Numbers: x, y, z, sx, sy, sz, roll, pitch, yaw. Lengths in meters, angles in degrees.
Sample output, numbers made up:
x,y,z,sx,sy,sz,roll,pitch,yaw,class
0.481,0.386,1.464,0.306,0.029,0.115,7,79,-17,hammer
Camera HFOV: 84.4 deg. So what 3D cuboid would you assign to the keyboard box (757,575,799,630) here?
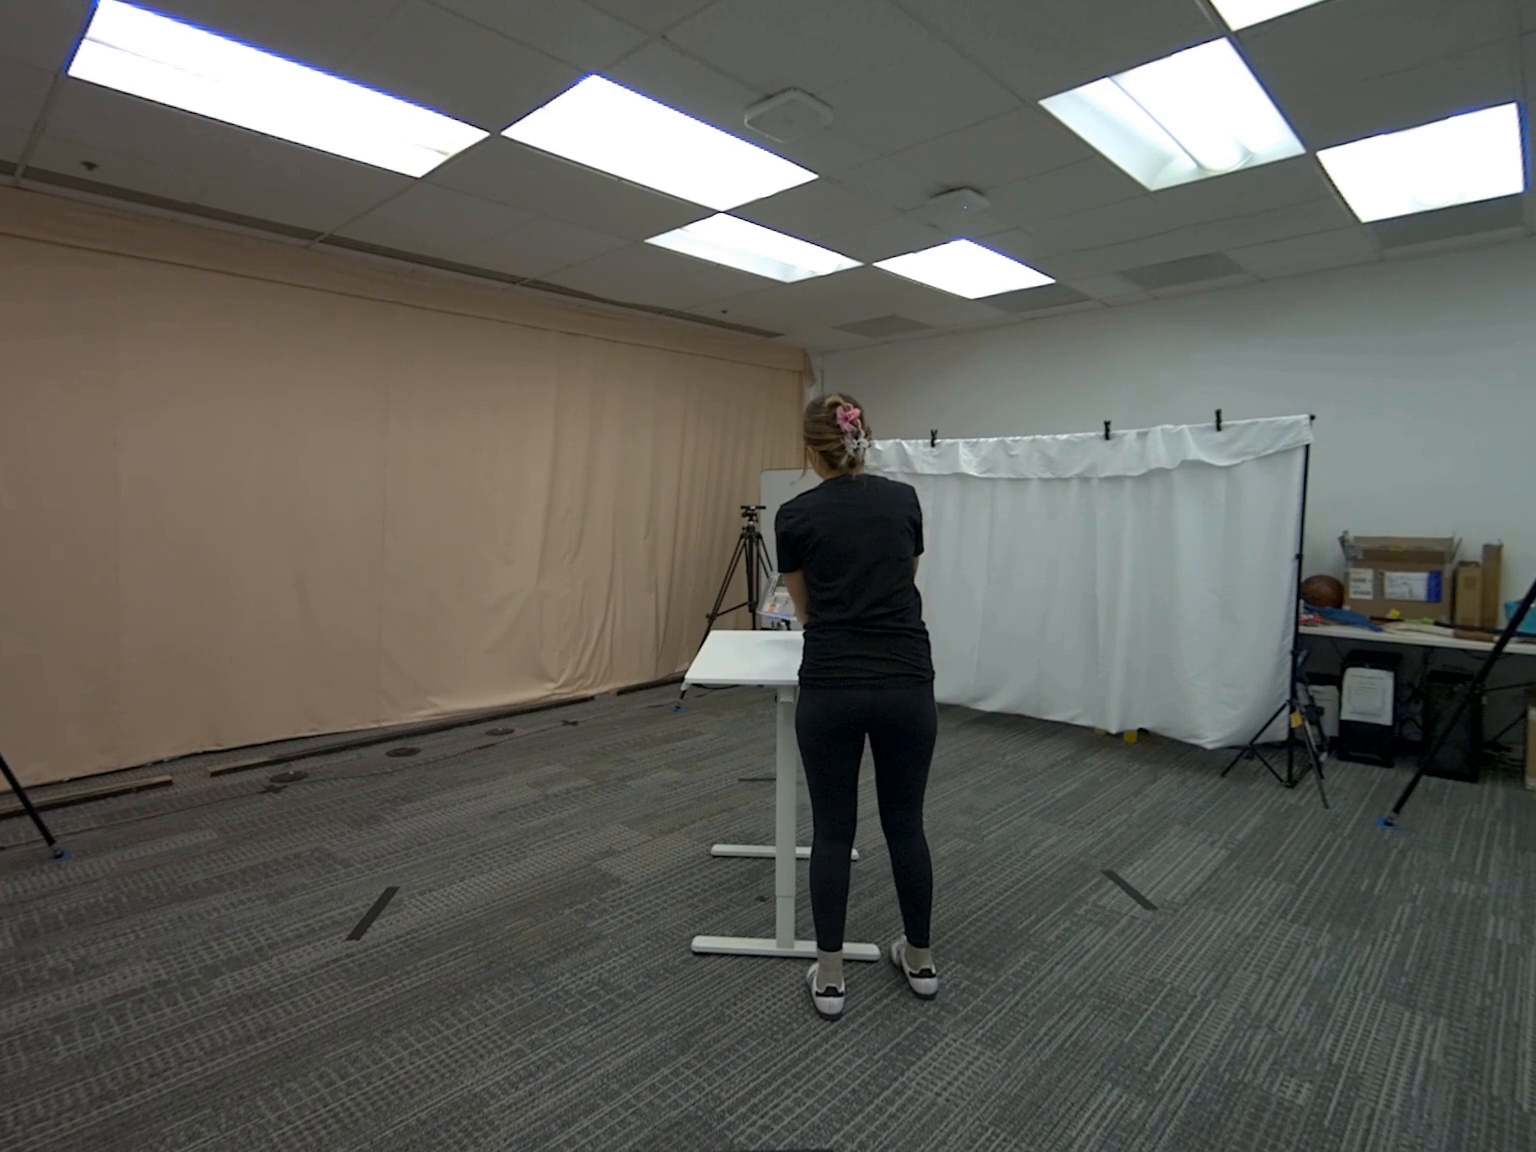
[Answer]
x,y,z,sx,sy,sz,roll,pitch,yaw,class
0.085,0.072,3.003,0.058,0.176,0.445,23,-7,-18,keyboard box
